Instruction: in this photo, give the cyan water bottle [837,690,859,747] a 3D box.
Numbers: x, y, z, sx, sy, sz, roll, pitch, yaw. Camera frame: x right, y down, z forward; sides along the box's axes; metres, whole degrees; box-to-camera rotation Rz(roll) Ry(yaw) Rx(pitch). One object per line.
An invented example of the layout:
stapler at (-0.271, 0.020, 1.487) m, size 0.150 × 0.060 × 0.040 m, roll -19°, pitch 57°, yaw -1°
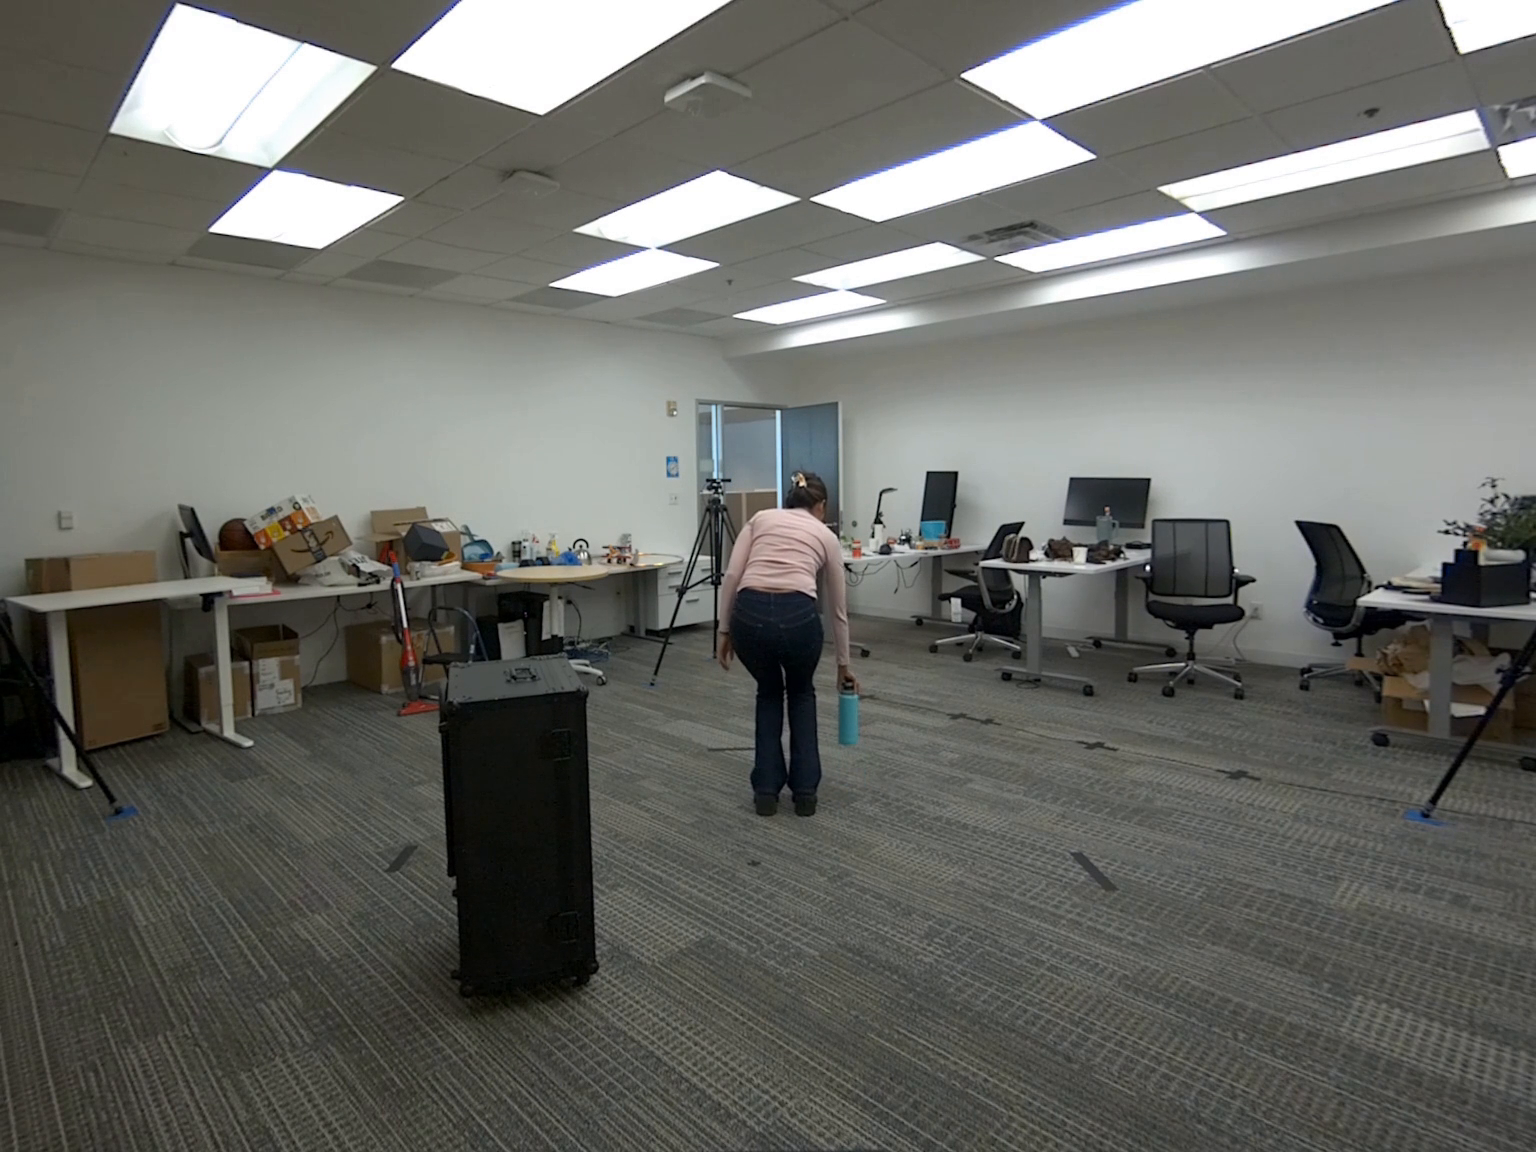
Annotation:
cyan water bottle at (0.358, 0.615, 3.877) m, size 0.092 × 0.283 × 0.092 m, roll 0°, pitch 2°, yaw -2°
